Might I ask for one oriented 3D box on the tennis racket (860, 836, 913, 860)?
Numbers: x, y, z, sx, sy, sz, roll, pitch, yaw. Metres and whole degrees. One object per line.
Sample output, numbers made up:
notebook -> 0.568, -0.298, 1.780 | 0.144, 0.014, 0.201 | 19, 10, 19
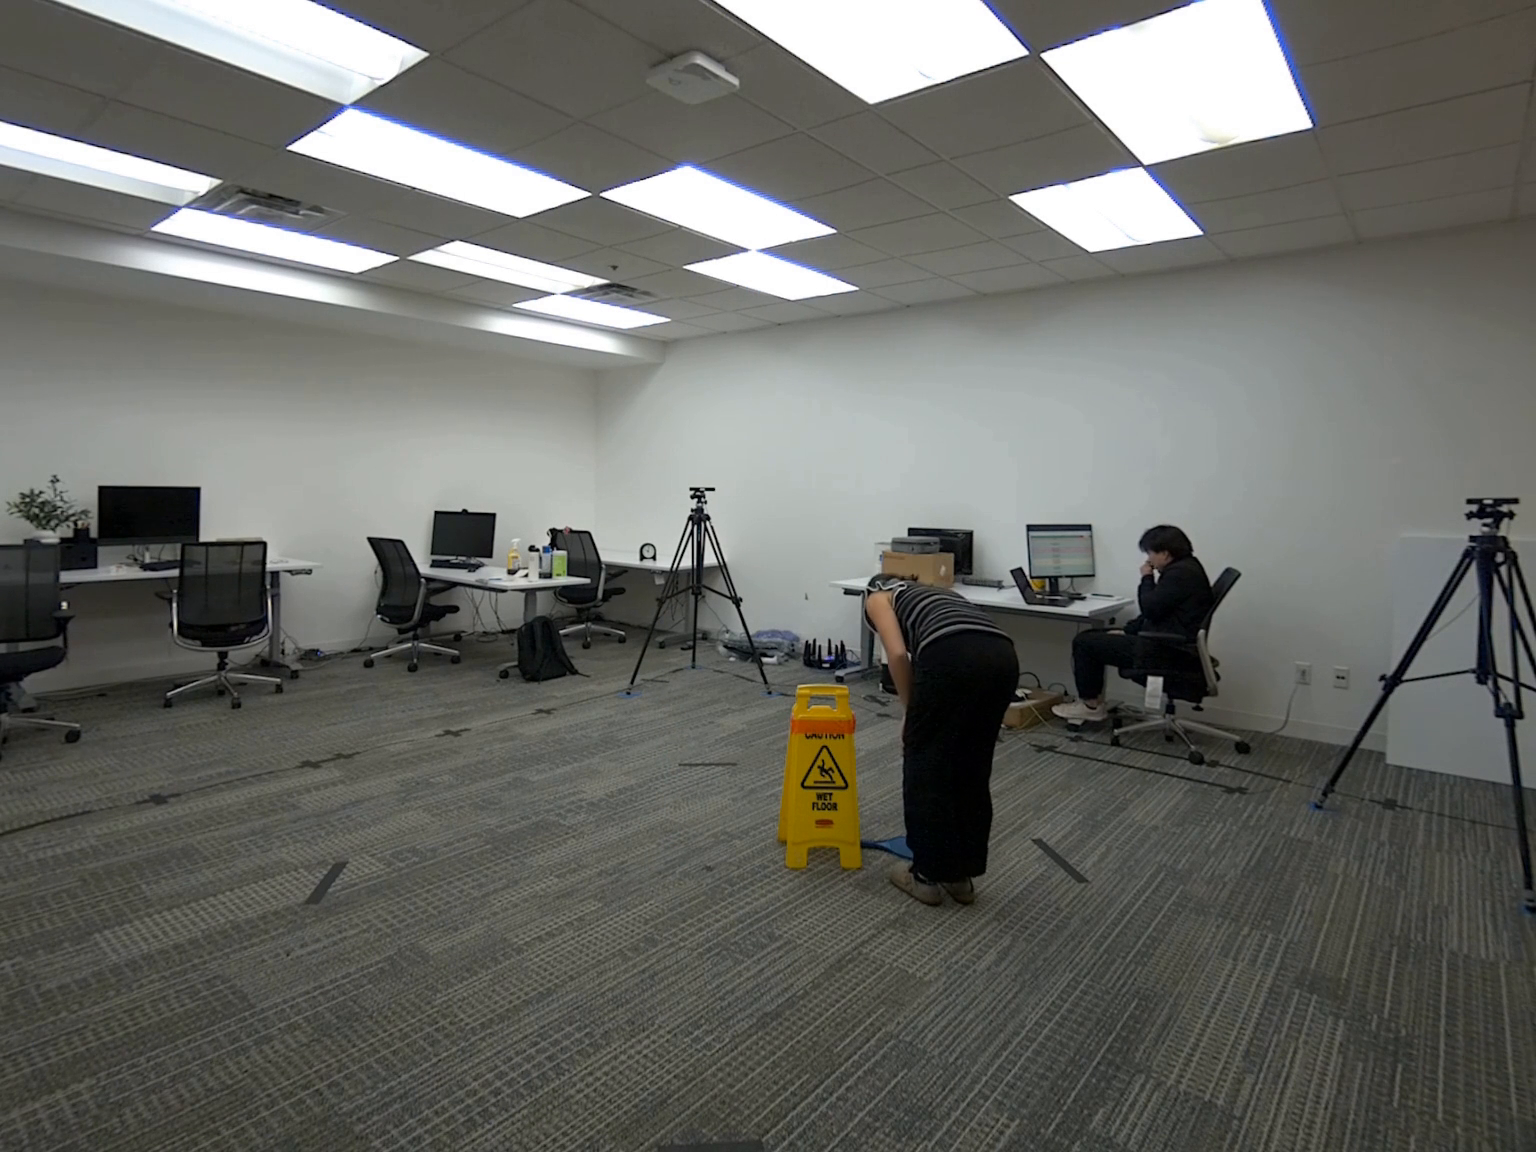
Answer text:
tennis racket -> 0.486, 1.036, 3.312 | 0.436, 0.031, 0.213 | 3, 6, 6
